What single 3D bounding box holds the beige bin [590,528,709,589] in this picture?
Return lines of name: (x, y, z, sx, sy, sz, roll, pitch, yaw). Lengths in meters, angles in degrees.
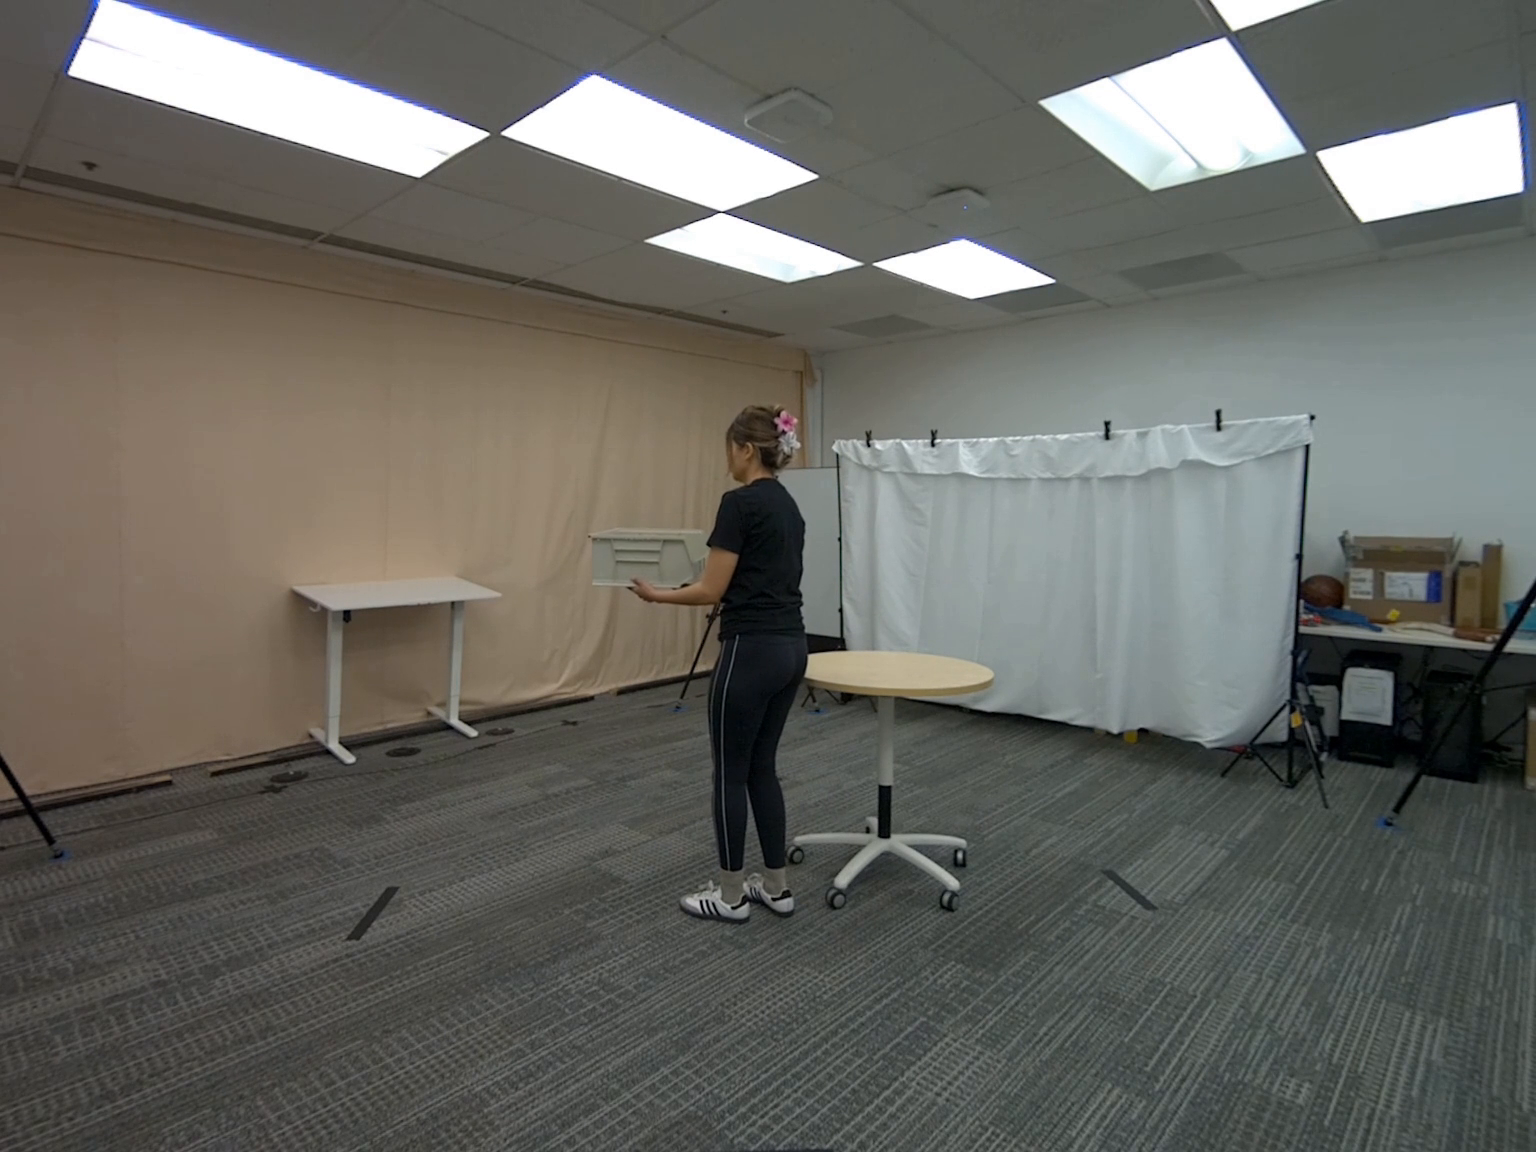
beige bin: (-0.425, -0.064, 3.117, 0.380, 0.188, 0.422, 0, 7, 4)
